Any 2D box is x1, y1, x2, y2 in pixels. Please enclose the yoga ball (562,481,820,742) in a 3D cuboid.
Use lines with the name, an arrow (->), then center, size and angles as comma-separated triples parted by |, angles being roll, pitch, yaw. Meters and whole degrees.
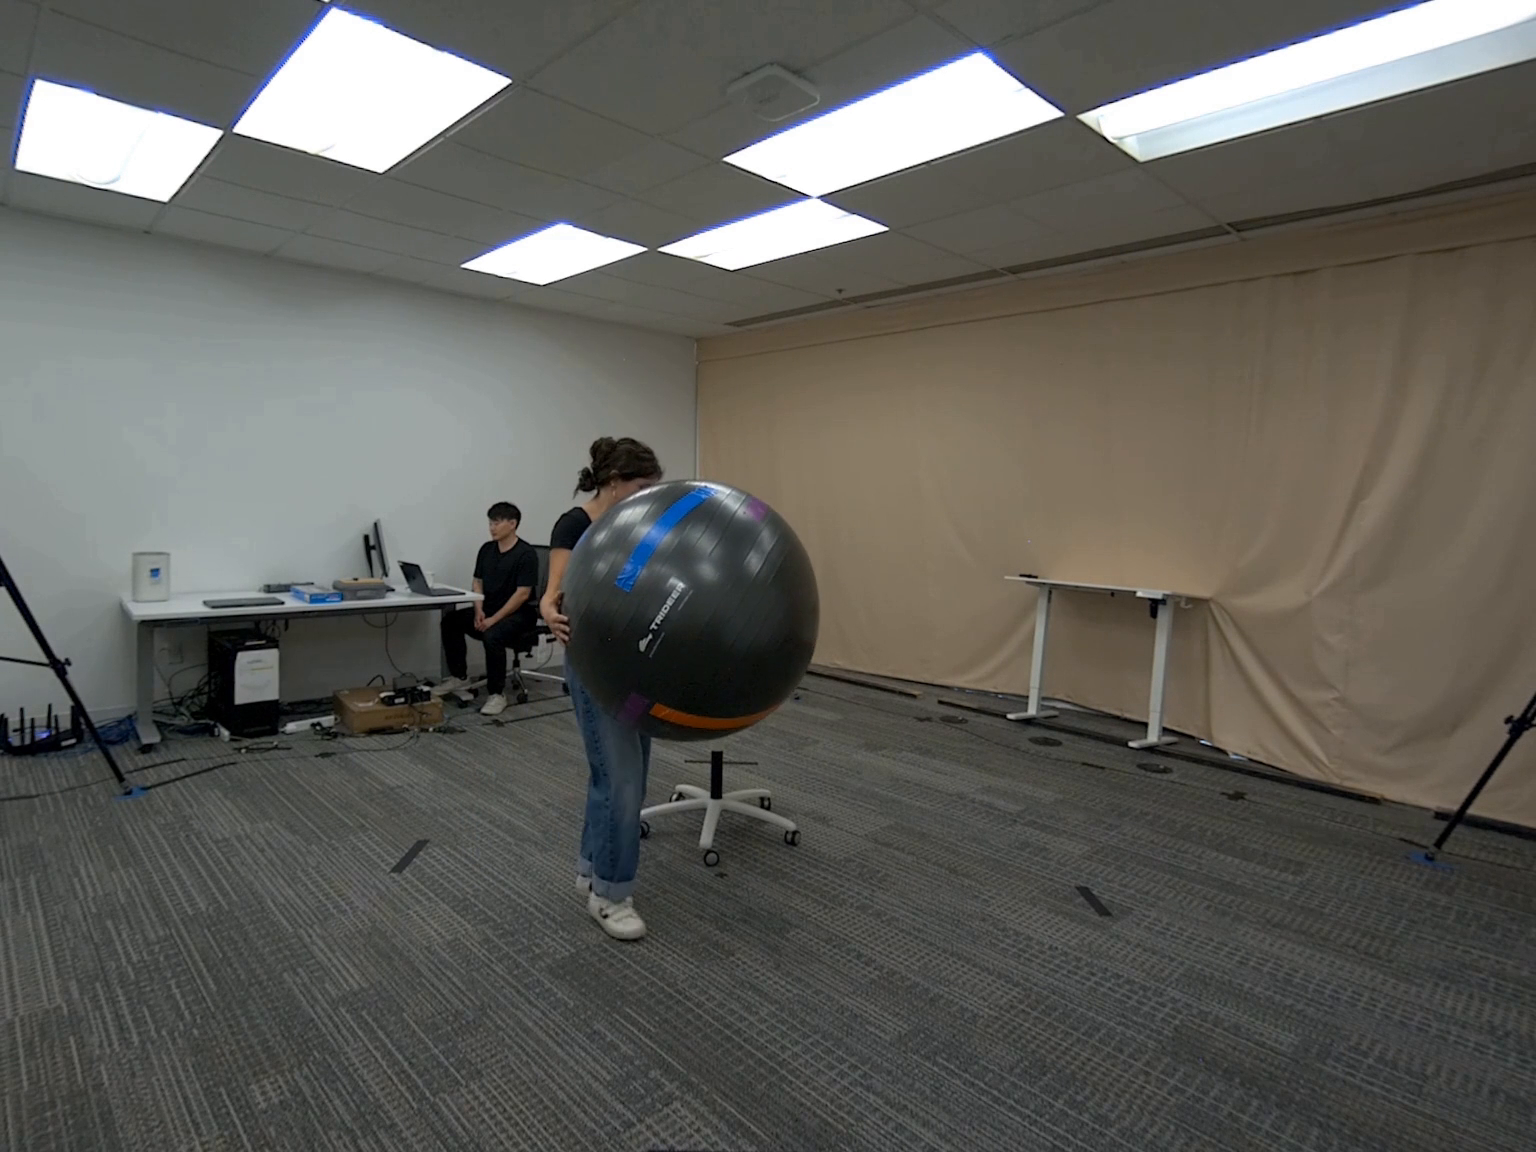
yoga ball -> -0.225, 0.100, 2.458 | 0.757, 0.756, 0.761 | 1, 4, -1
